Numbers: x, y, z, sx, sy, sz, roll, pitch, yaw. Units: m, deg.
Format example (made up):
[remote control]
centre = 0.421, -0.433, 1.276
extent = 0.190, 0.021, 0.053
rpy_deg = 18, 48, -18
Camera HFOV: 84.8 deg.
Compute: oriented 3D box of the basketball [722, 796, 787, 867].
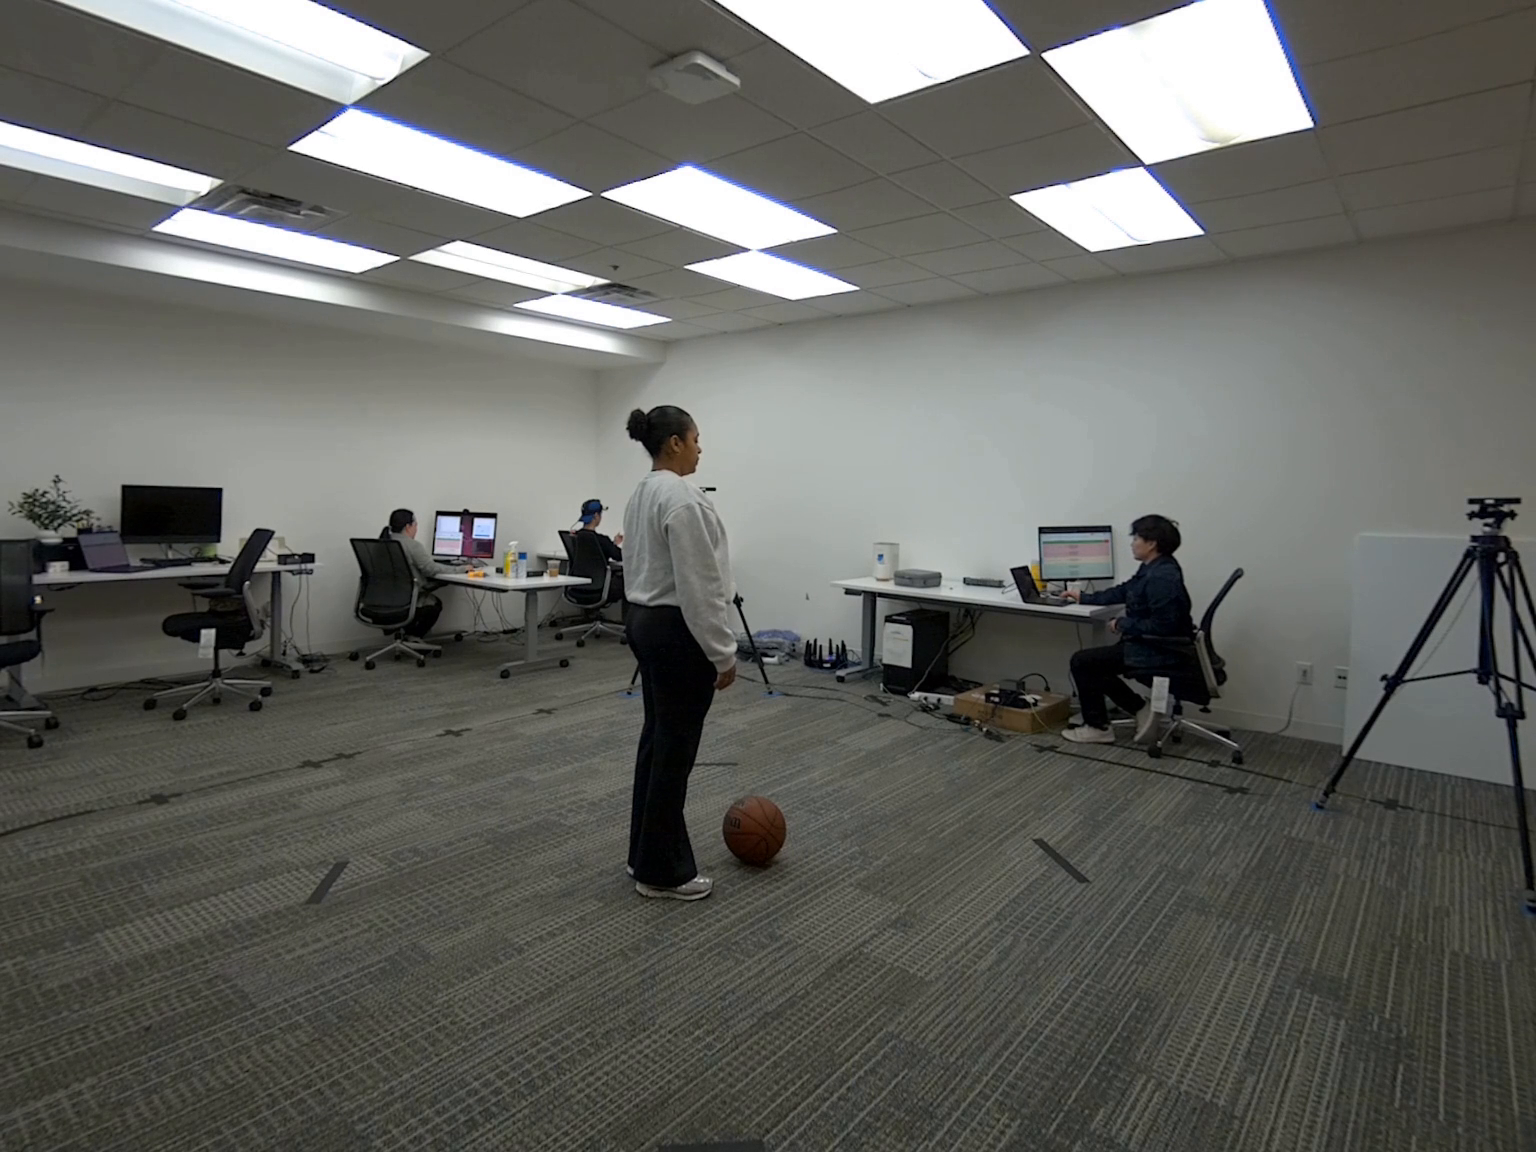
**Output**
[basketball]
centre = -0.064, 0.940, 3.175
extent = 0.235, 0.235, 0.237
rpy_deg = 1, 4, -2
